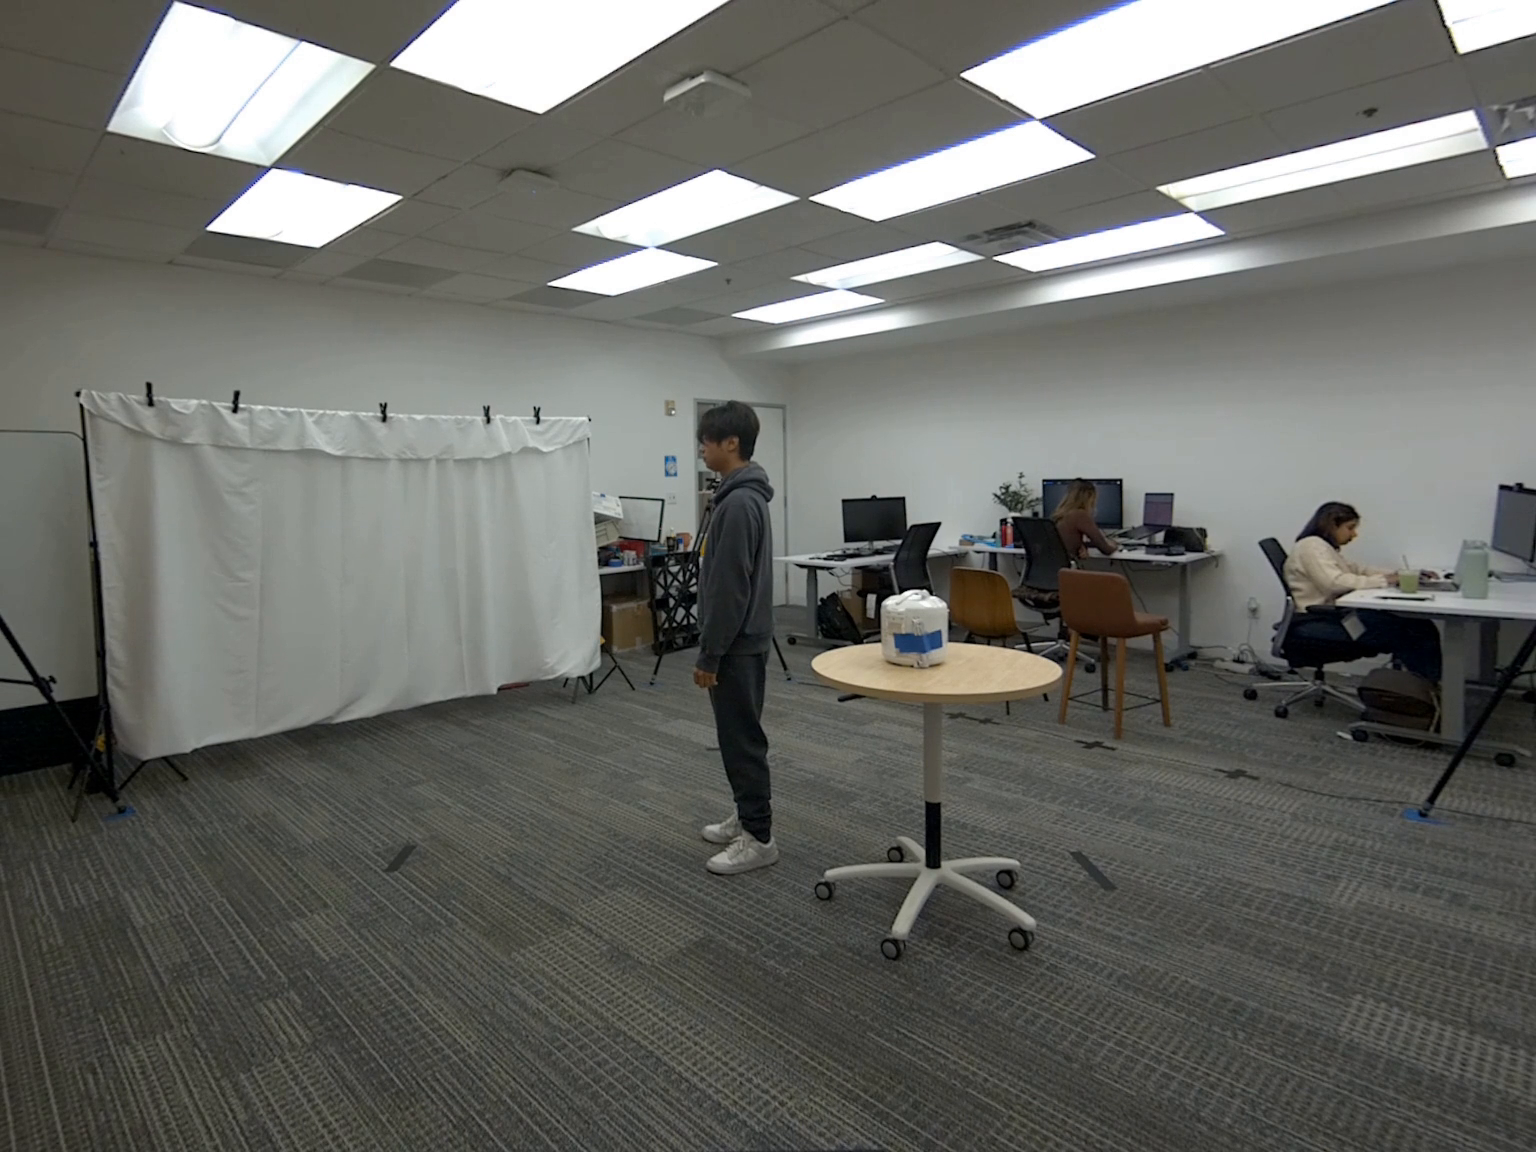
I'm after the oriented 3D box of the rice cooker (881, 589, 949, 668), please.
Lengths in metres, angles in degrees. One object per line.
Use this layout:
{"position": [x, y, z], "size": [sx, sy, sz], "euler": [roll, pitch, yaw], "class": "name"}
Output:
{"position": [0.466, 0.160, 2.740], "size": [0.215, 0.232, 0.224], "euler": [-6, 7, -45], "class": "rice cooker"}
